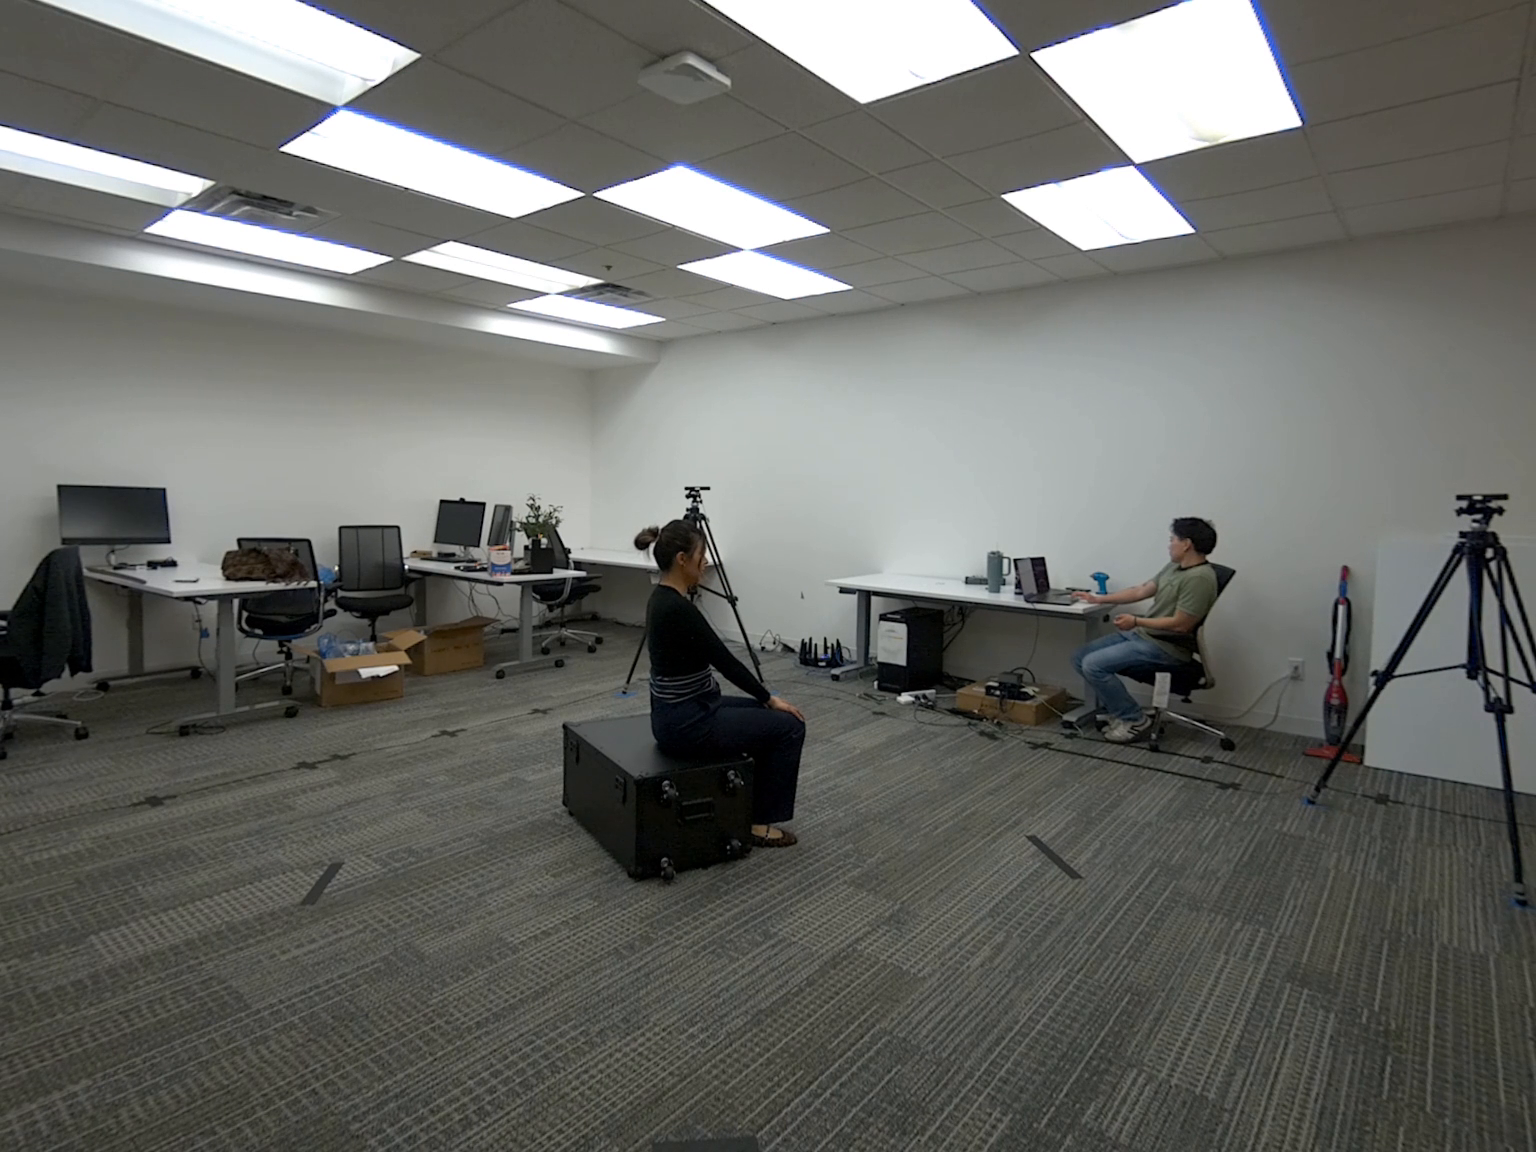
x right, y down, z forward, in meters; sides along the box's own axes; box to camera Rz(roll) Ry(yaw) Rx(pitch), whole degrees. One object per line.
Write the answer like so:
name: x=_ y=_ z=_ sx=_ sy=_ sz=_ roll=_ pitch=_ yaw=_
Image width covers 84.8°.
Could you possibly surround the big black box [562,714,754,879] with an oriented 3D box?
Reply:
big black box: x=-0.495 y=0.838 z=3.440 sx=0.507 sy=0.395 sz=0.889 roll=-2 pitch=6 yaw=-32
